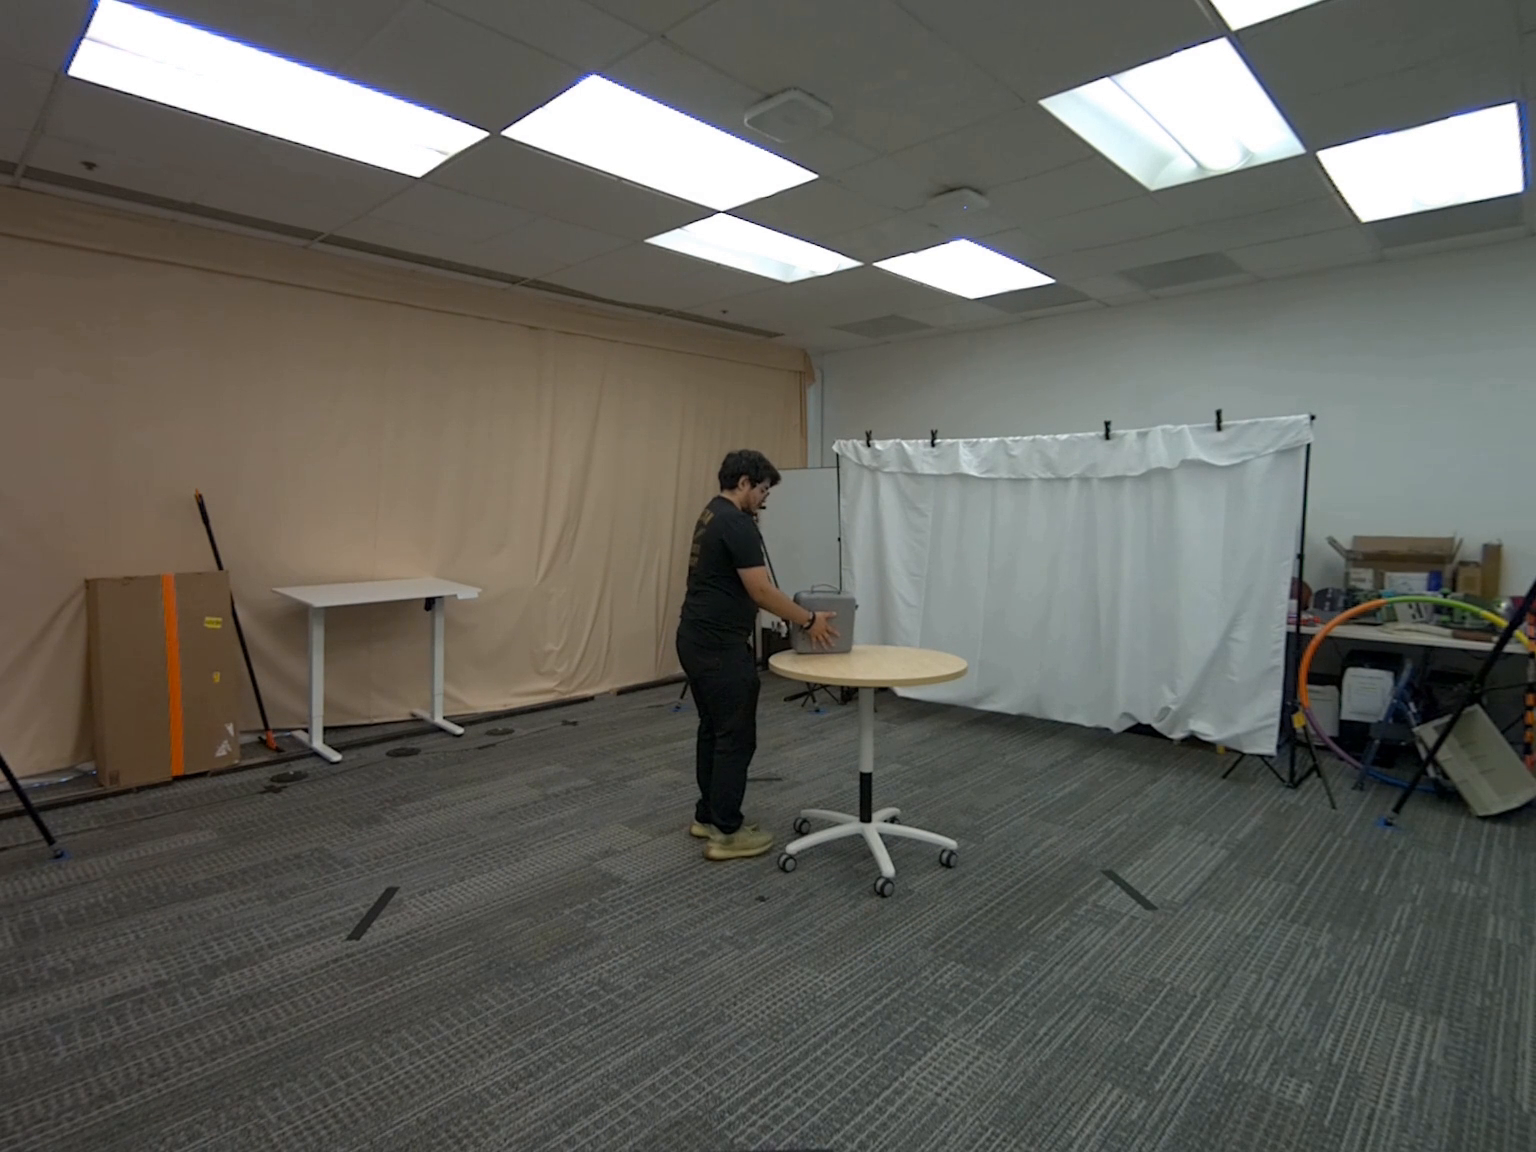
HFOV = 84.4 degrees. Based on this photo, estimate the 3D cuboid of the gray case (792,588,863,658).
[{"bbox_3d":[0.240,0.188,3.478,0.254,0.259,0.106,0,9,-10],"label":"gray case"}]
